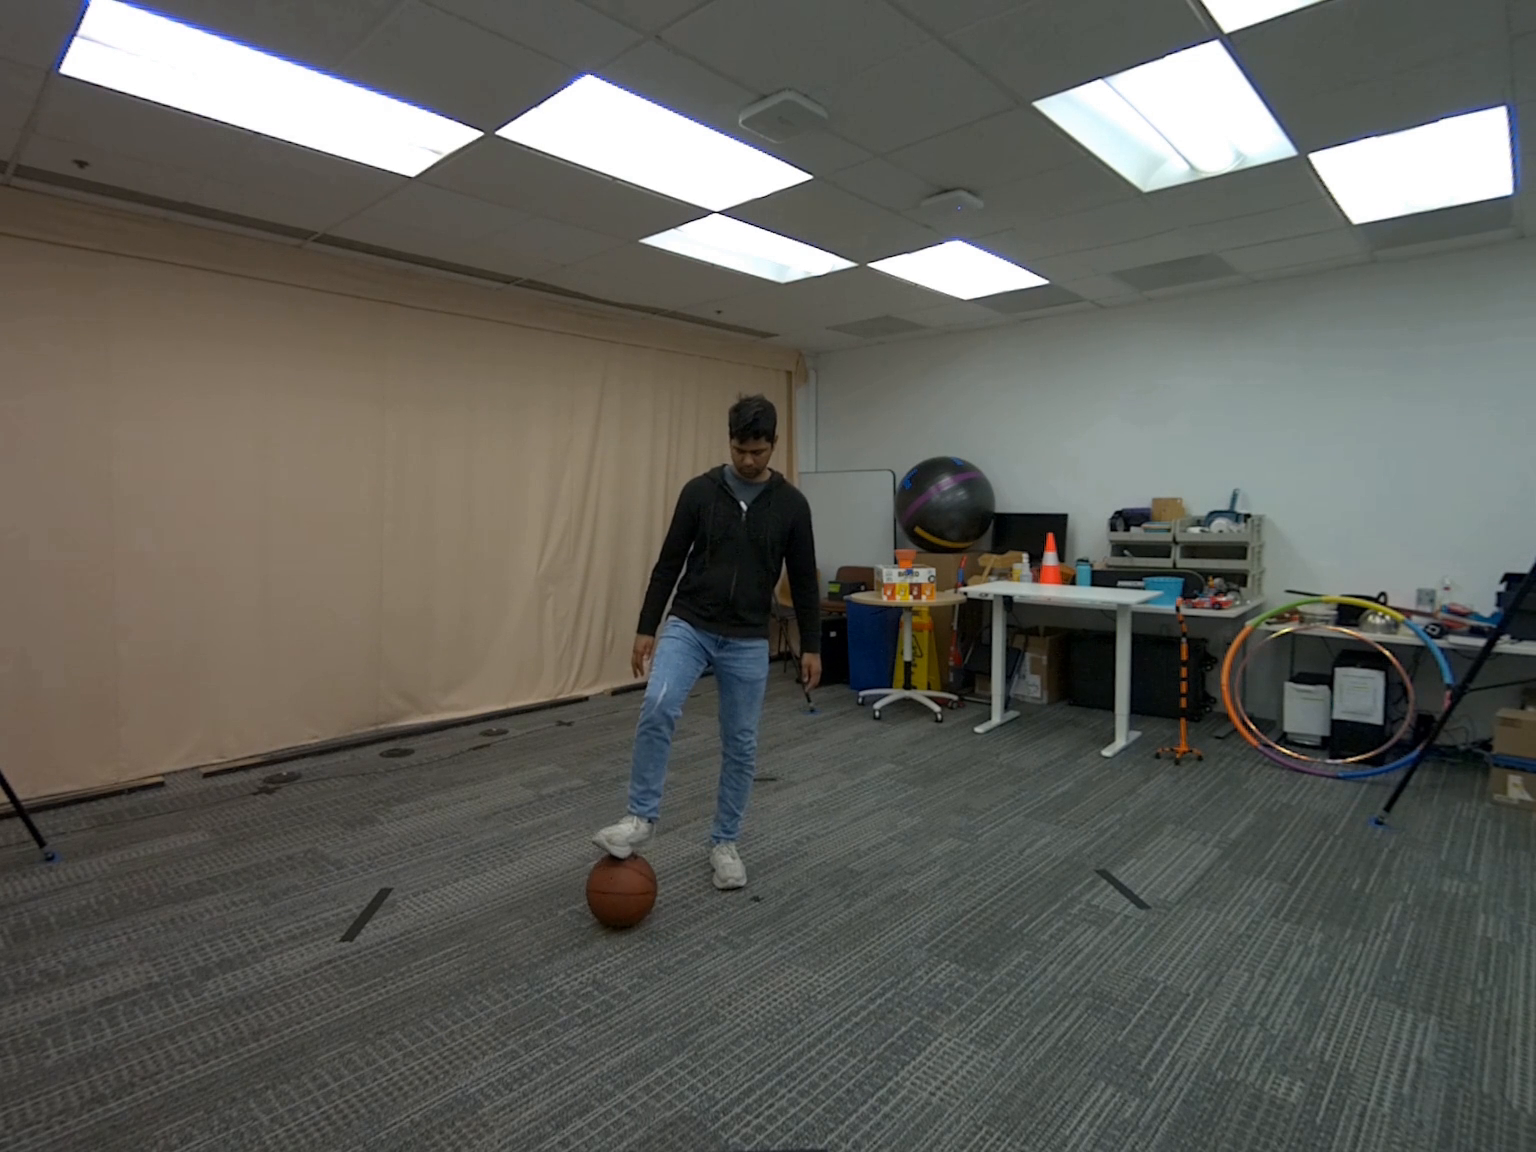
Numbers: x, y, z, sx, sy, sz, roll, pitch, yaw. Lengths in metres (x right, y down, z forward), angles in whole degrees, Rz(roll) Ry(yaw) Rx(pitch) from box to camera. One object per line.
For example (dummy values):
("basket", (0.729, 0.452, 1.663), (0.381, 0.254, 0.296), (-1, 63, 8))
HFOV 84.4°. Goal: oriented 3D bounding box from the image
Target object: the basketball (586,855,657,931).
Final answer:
("basketball", (-0.478, 1.043, 2.805), (0.236, 0.235, 0.237), (0, 4, -2))
